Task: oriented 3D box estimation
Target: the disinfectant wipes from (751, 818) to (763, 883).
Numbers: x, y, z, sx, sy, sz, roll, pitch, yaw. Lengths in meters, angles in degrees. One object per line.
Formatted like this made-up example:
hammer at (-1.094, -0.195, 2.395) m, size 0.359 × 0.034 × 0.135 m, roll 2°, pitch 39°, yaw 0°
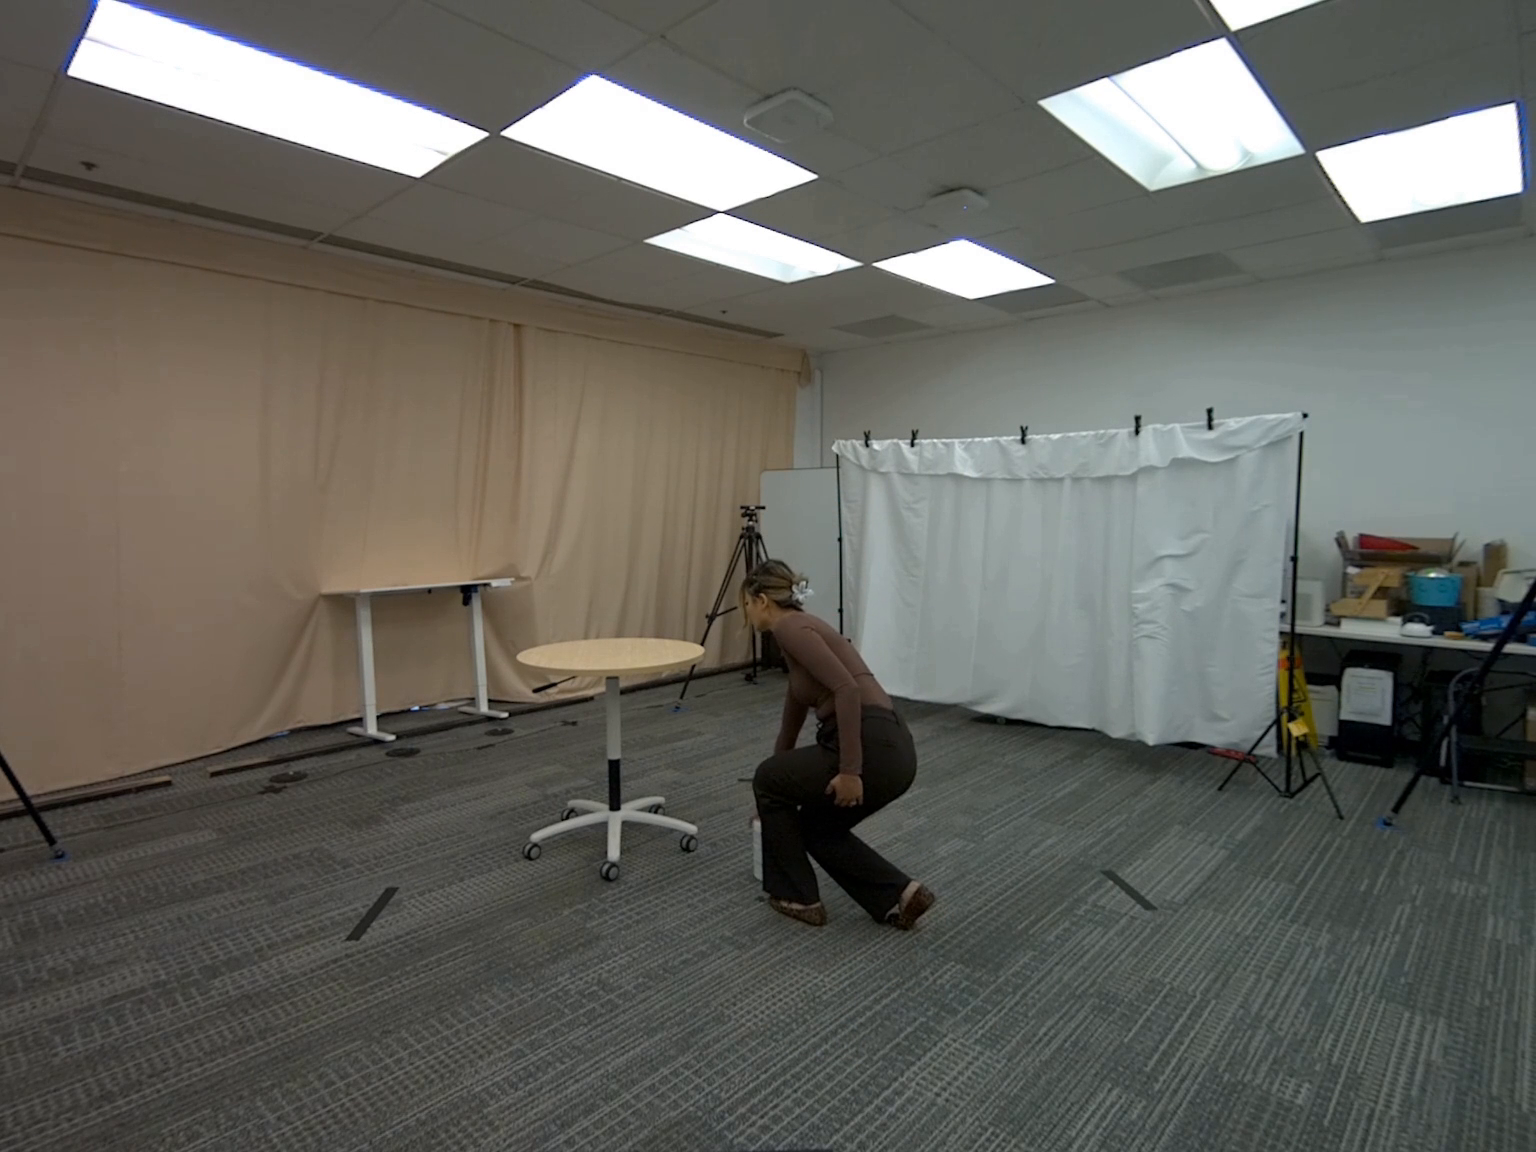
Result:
disinfectant wipes at (0.008, 1.018, 3.156) m, size 0.118 × 0.217 × 0.118 m, roll -1°, pitch 2°, yaw -2°
